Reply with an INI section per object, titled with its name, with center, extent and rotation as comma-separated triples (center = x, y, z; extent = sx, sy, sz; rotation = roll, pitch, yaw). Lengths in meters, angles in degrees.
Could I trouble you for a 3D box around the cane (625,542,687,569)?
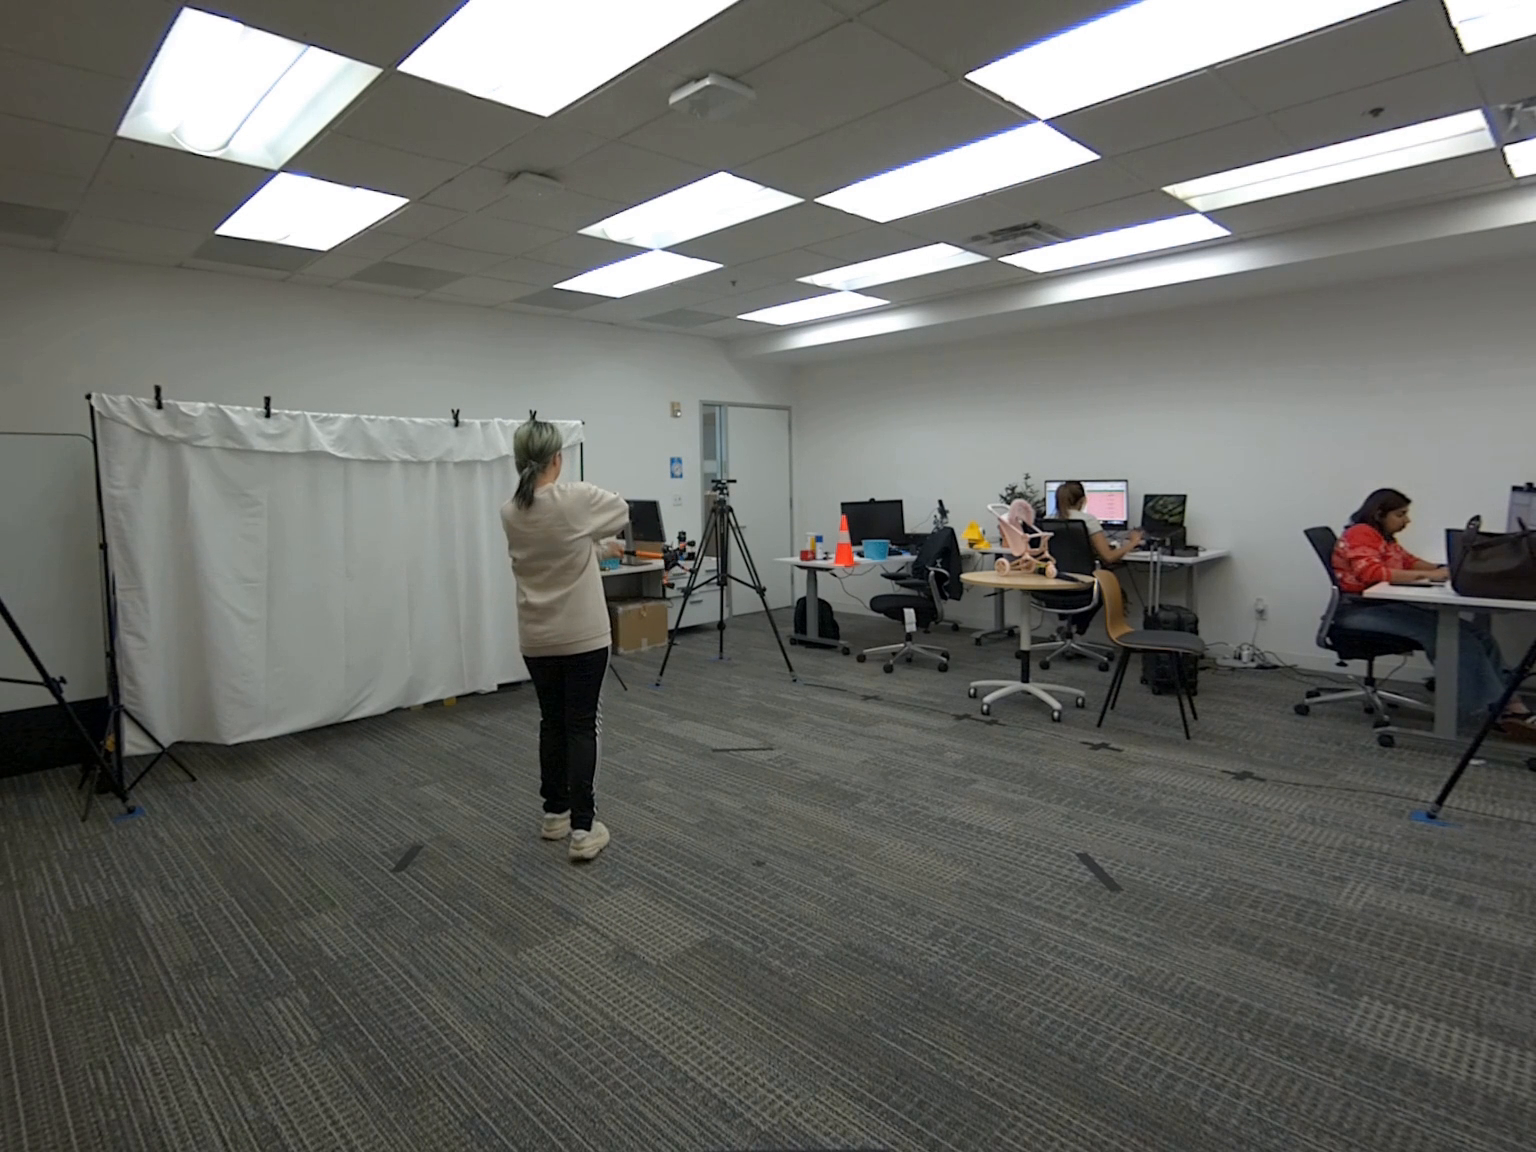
[cane]
center = -0.741, -0.097, 3.729
extent = 0.933, 0.149, 0.204
rotation = 7, 22, 29
